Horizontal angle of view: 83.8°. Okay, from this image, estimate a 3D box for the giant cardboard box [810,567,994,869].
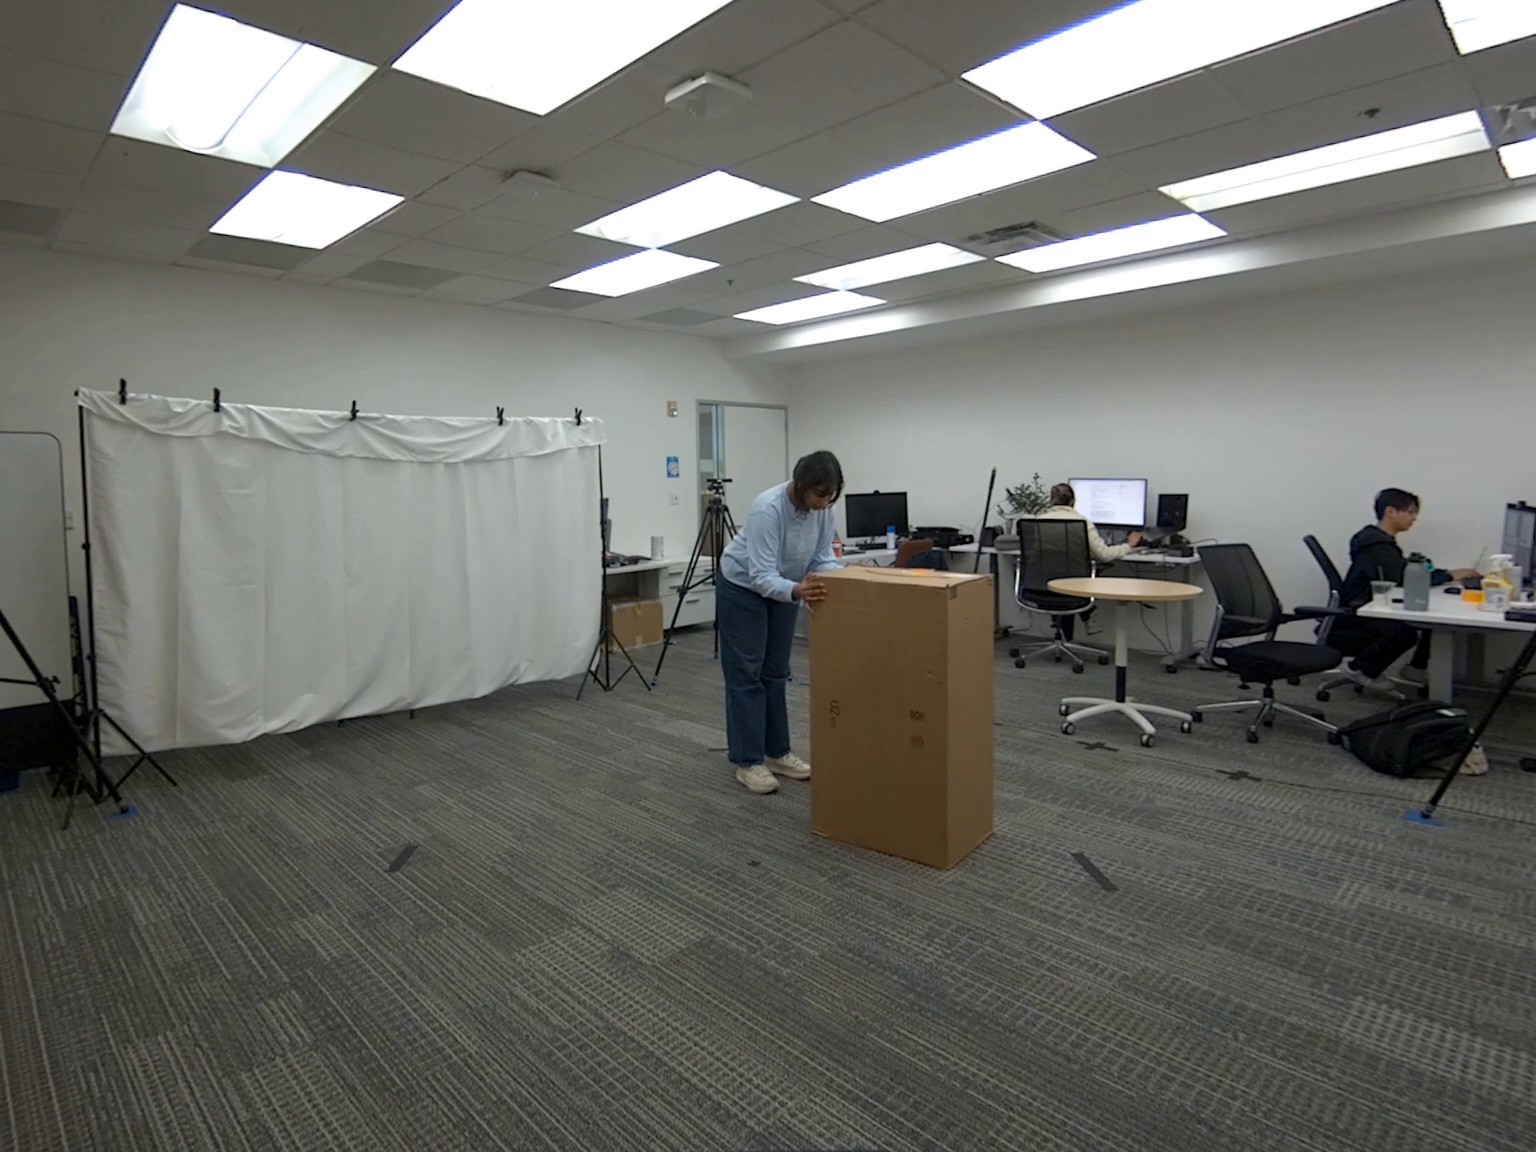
[{"bbox_3d":[0.525,0.506,3.325,0.594,1.022,0.415,2,5,37],"label":"giant cardboard box"}]
